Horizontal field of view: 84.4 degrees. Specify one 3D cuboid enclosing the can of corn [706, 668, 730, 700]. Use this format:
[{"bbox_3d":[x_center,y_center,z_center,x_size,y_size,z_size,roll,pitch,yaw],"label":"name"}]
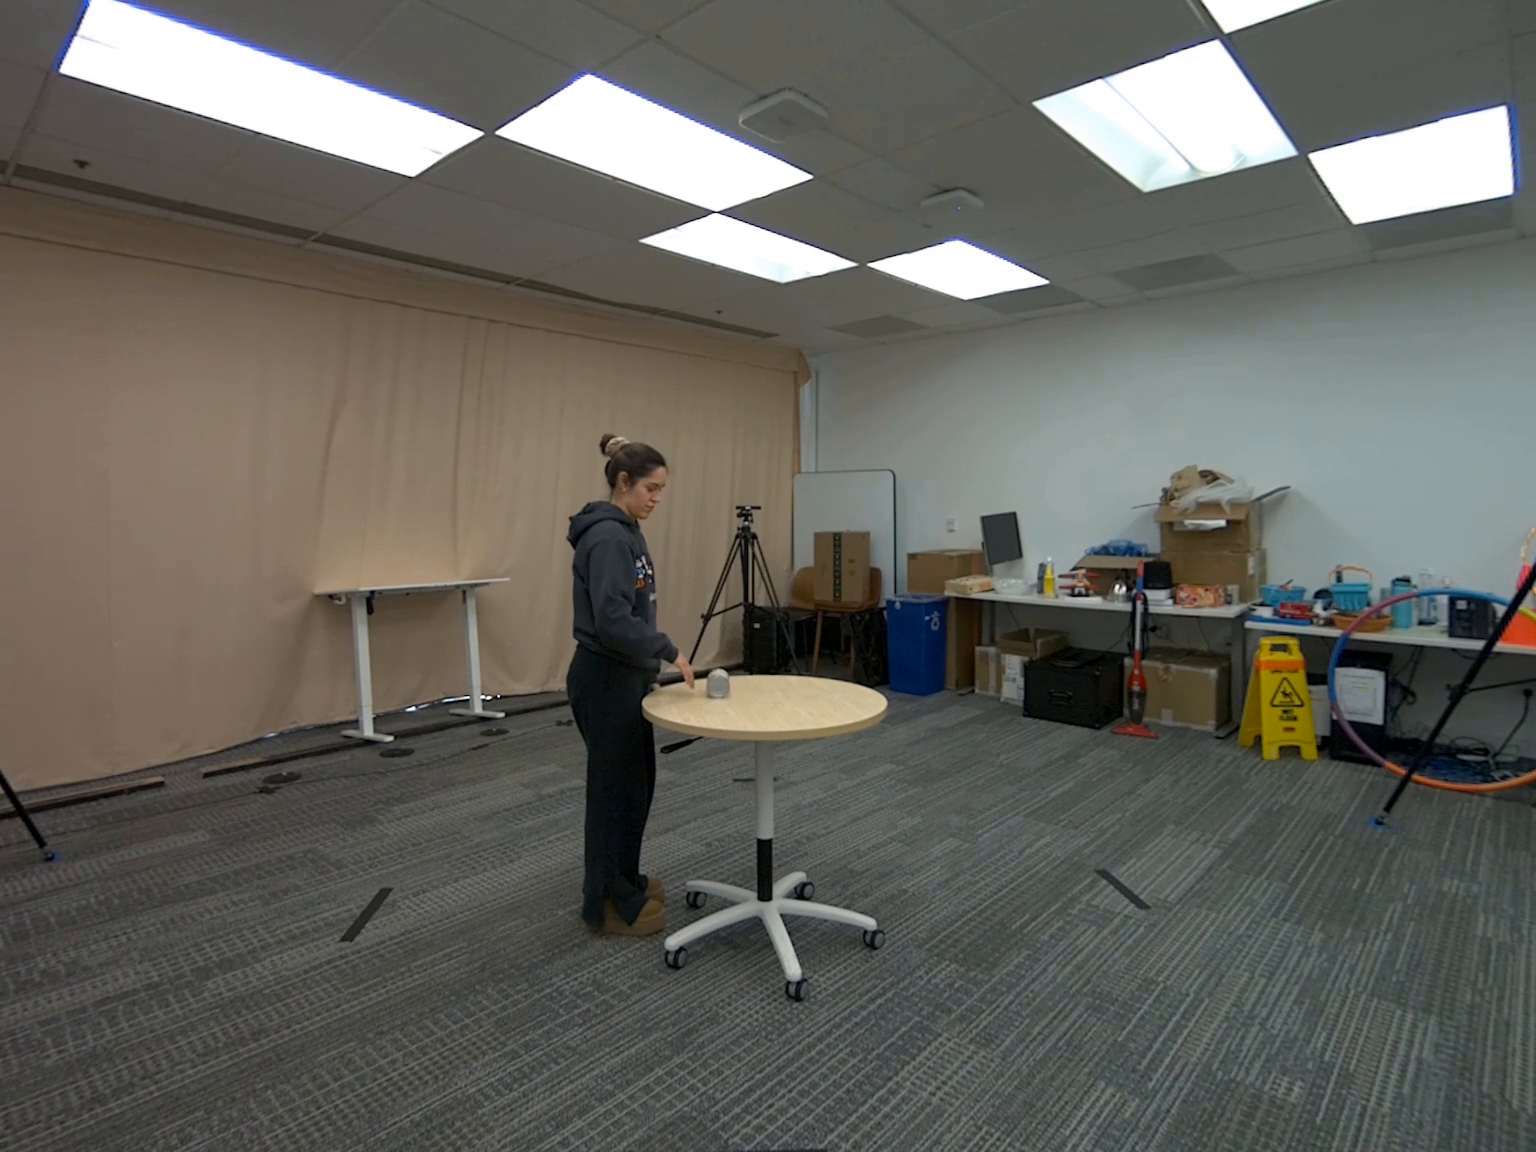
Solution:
[{"bbox_3d":[-0.148,0.347,2.720,0.074,0.074,0.111,0,3,-2],"label":"can of corn"}]
